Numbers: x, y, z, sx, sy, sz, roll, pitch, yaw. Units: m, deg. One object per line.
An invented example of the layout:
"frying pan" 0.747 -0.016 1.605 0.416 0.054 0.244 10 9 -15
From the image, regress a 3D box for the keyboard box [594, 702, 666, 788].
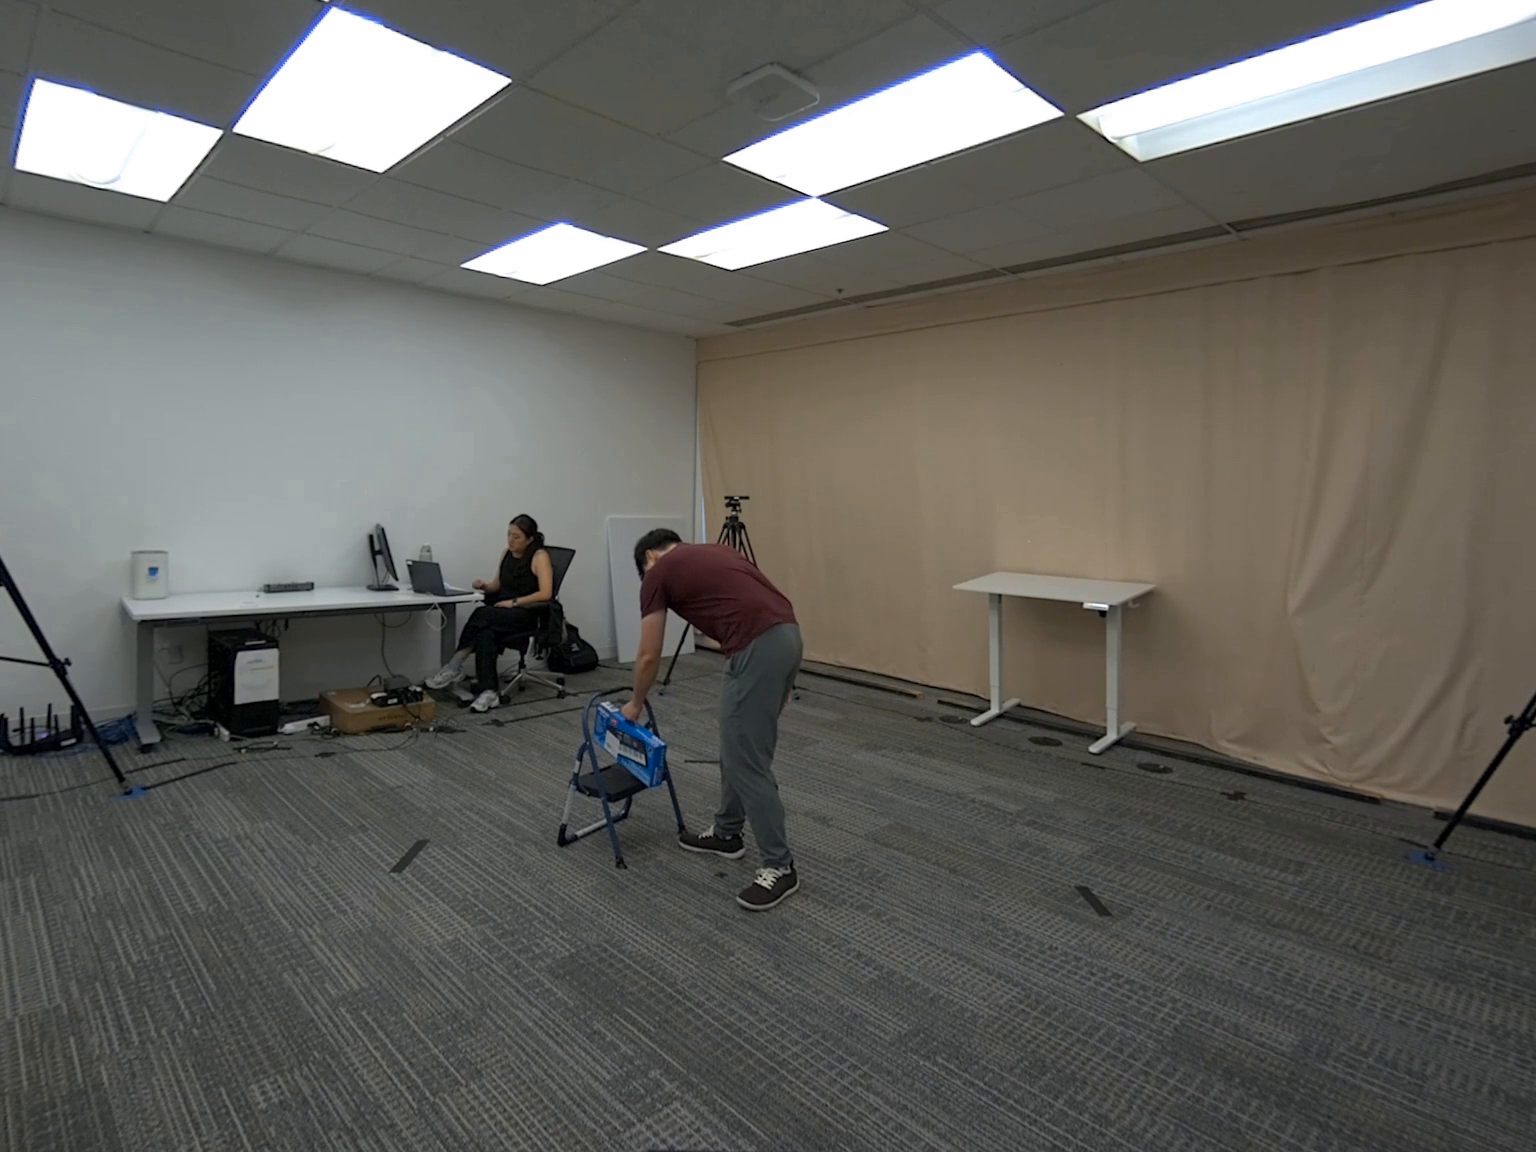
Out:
"keyboard box" -0.566 0.673 3.396 0.058 0.175 0.450 -1 16 -41
